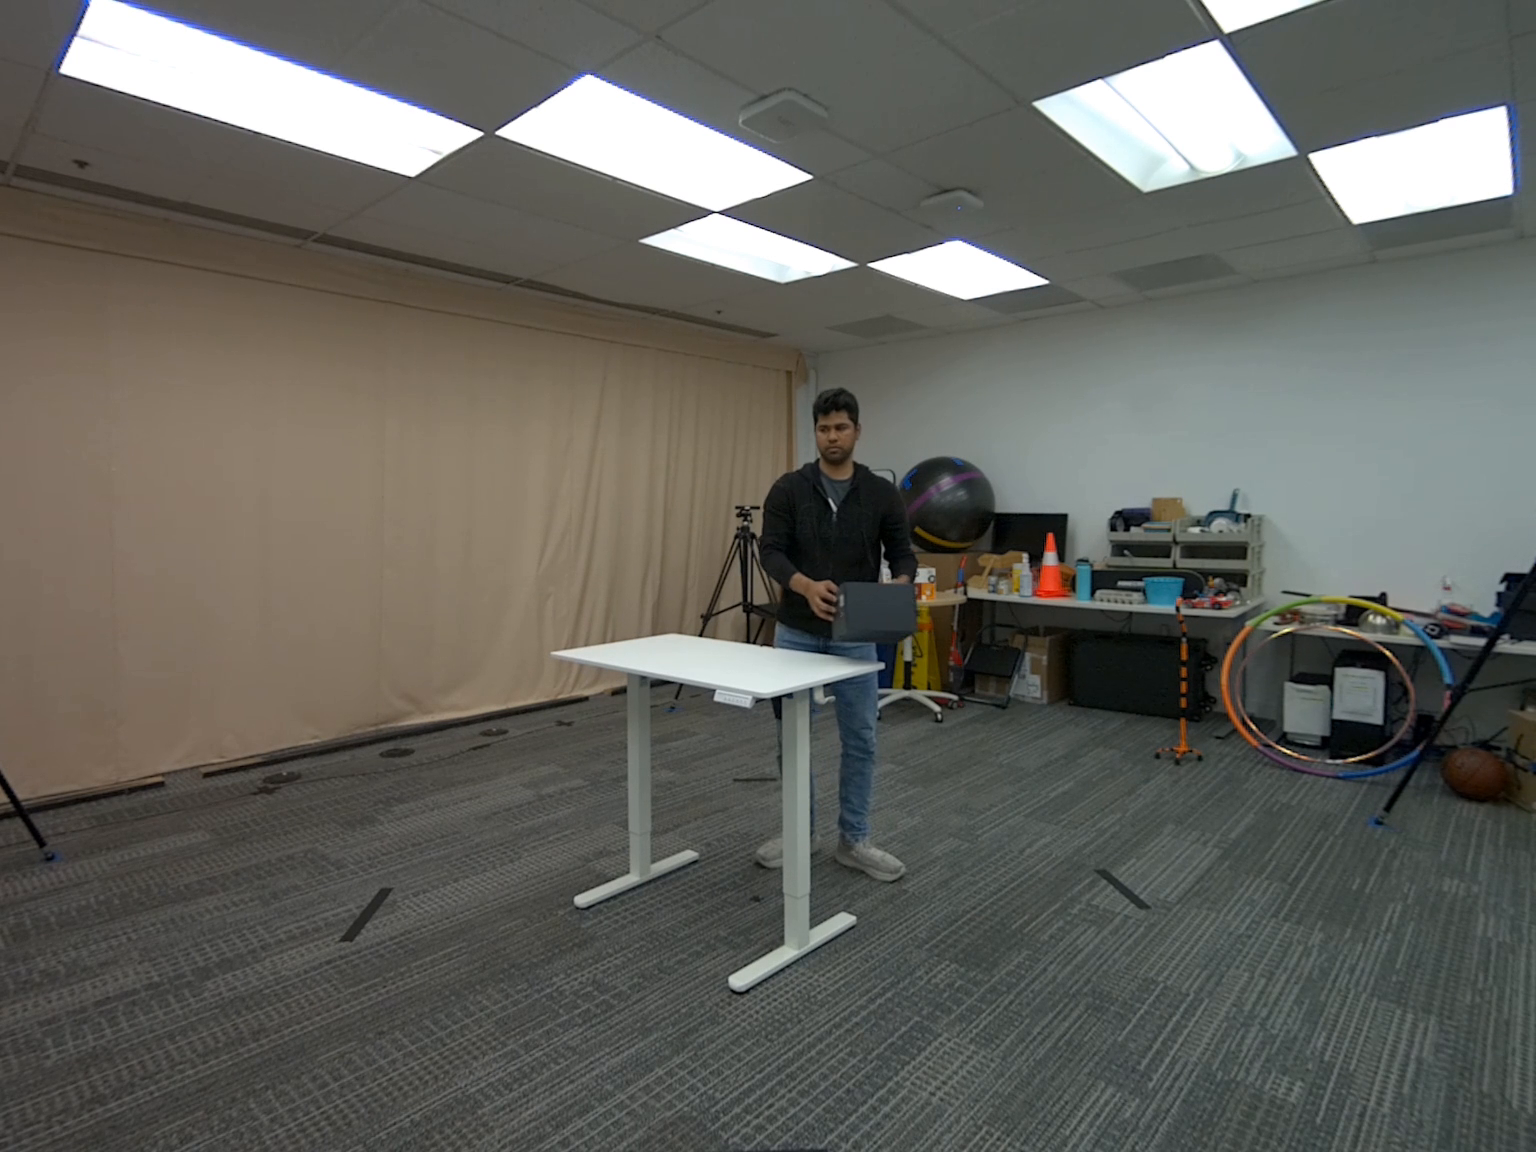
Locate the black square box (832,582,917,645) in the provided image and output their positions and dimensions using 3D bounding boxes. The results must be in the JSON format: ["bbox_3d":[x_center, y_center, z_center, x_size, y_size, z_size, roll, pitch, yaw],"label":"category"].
[{"bbox_3d":[0.347,0.124,2.744,0.227,0.157,0.216,0,-12,-5],"label":"black square box"}]
